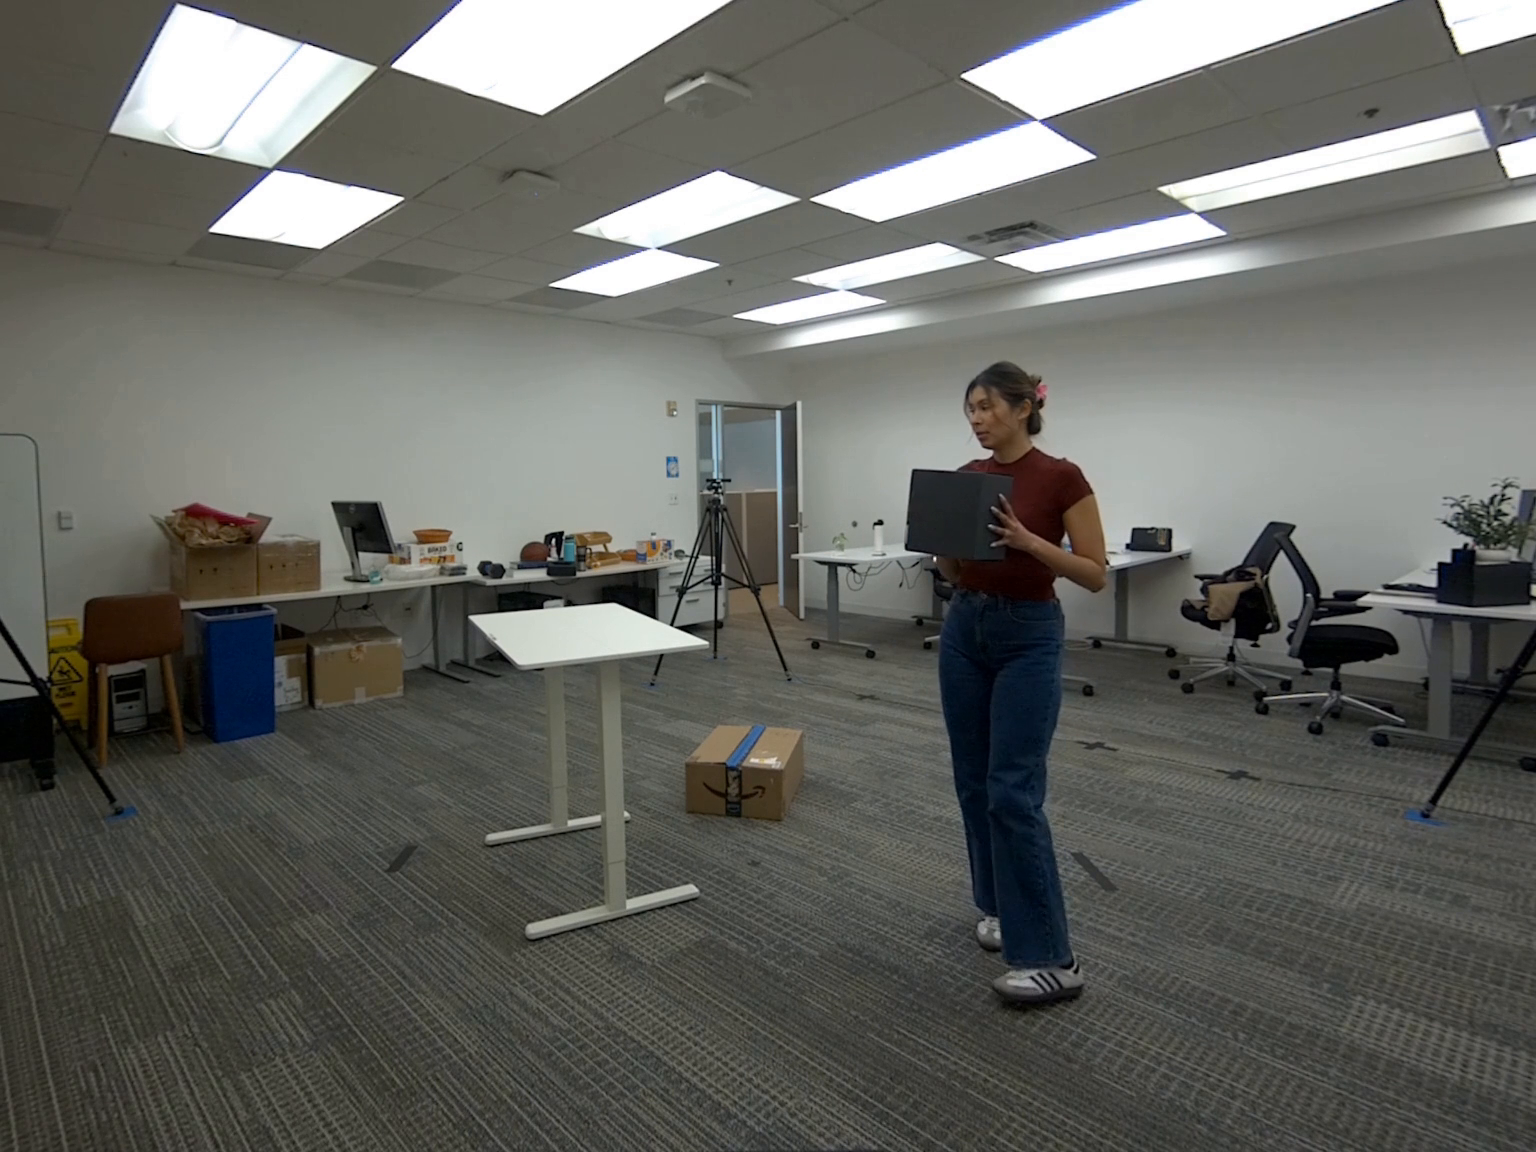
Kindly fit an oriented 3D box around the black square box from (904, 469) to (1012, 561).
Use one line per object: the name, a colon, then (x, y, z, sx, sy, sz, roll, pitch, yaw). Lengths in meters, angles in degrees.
black square box: (0.525, -0.167, 2.283, 0.224, 0.227, 0.151, 10, 7, 44)
